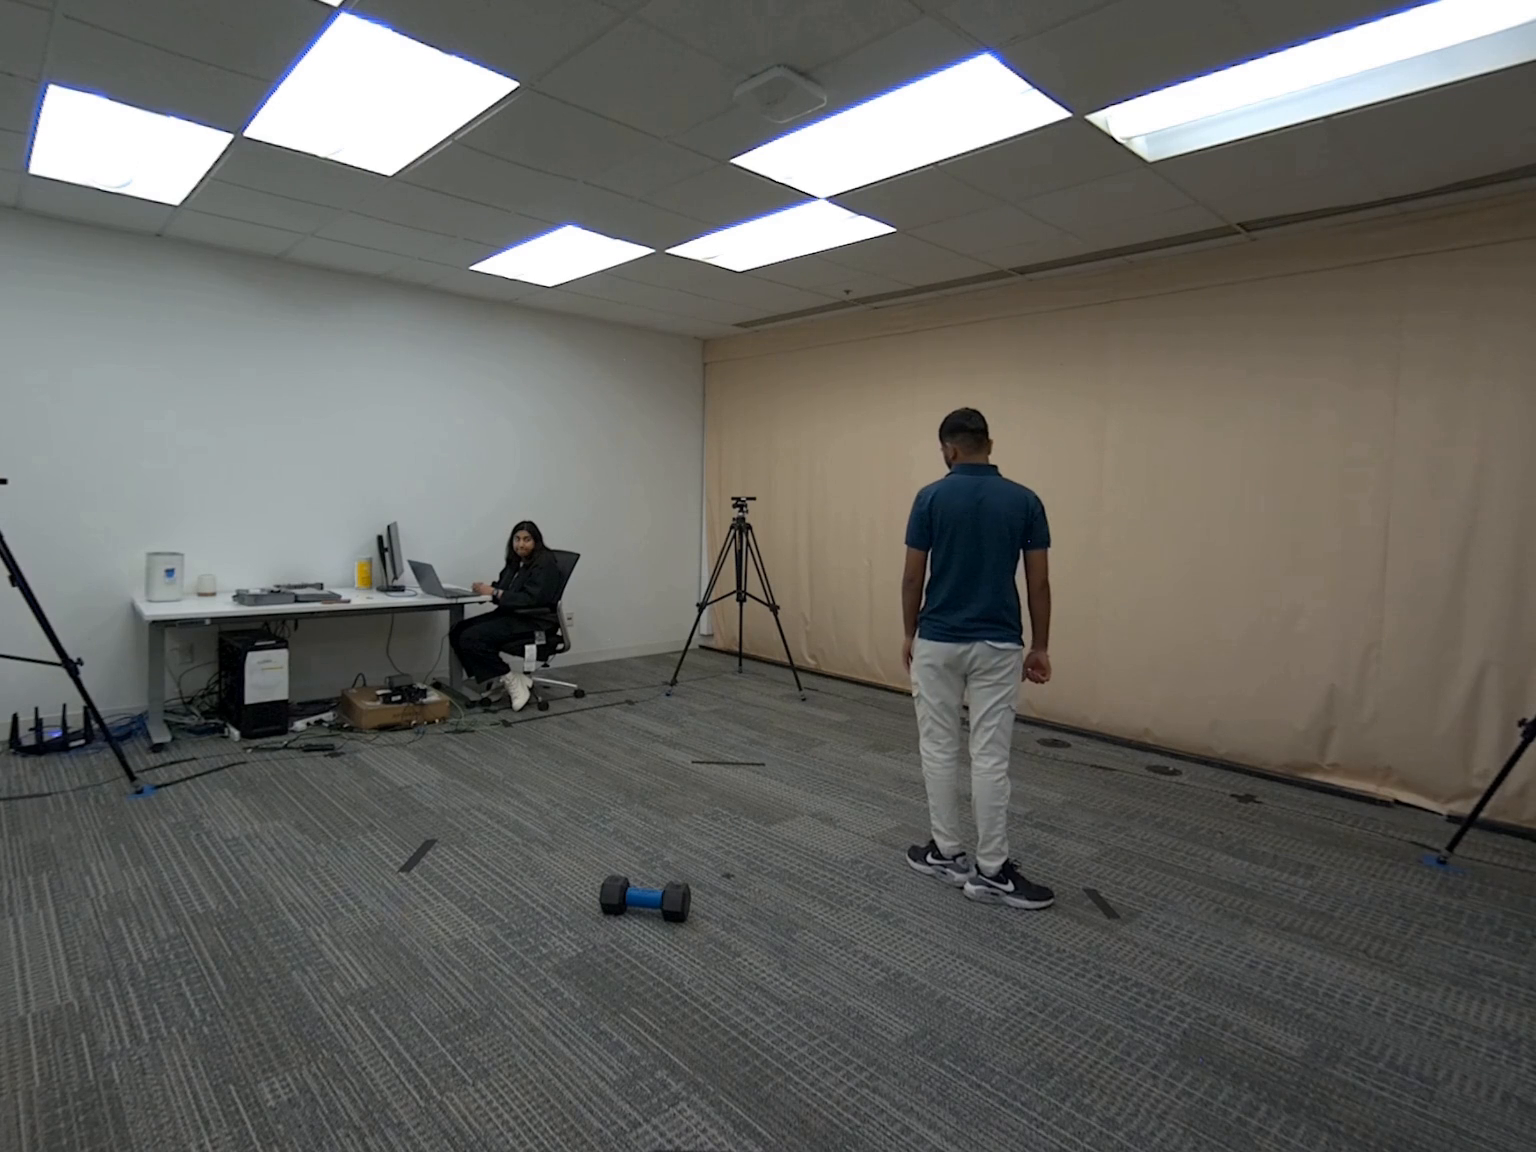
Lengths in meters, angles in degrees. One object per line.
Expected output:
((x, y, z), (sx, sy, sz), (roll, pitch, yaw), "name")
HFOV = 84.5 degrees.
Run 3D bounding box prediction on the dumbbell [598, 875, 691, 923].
((-0.418, 1.077, 2.800), (0.296, 0.125, 0.106), (2, -25, 11), "dumbbell")
